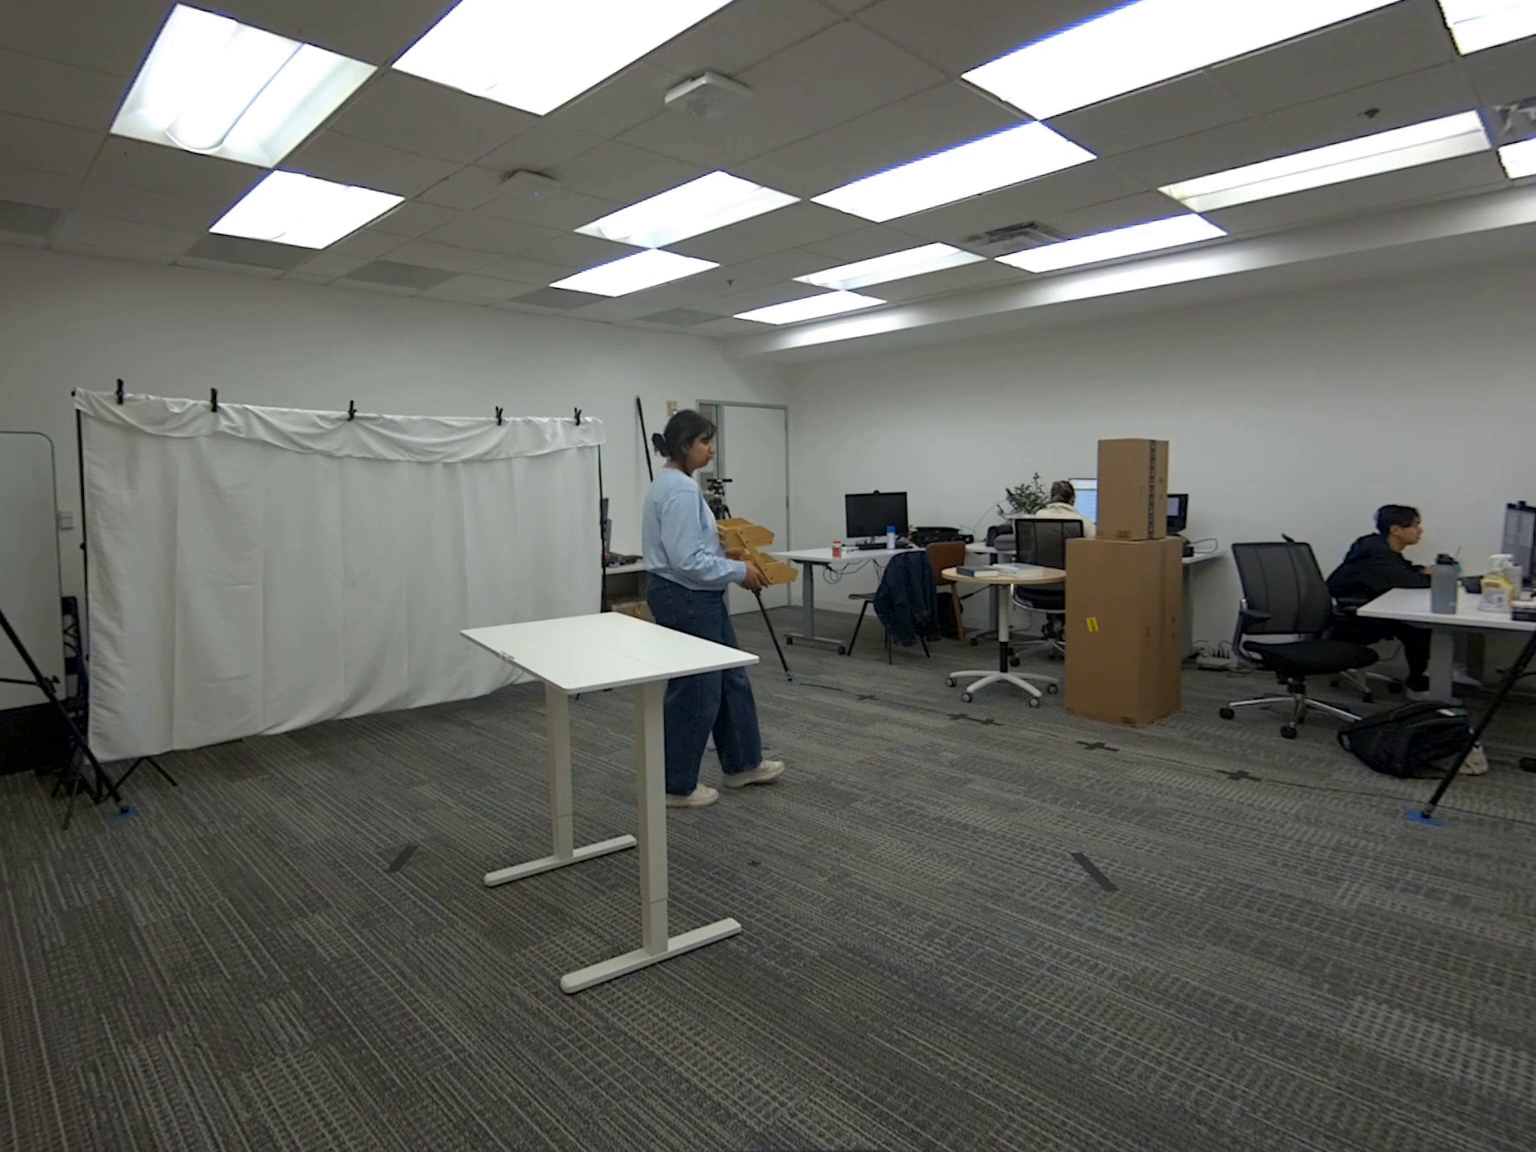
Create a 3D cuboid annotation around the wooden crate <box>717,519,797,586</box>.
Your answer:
[{"bbox_3d":[-0.063,-0.114,3.723,0.299,0.271,0.331,-9,10,-13],"label":"wooden crate"}]
